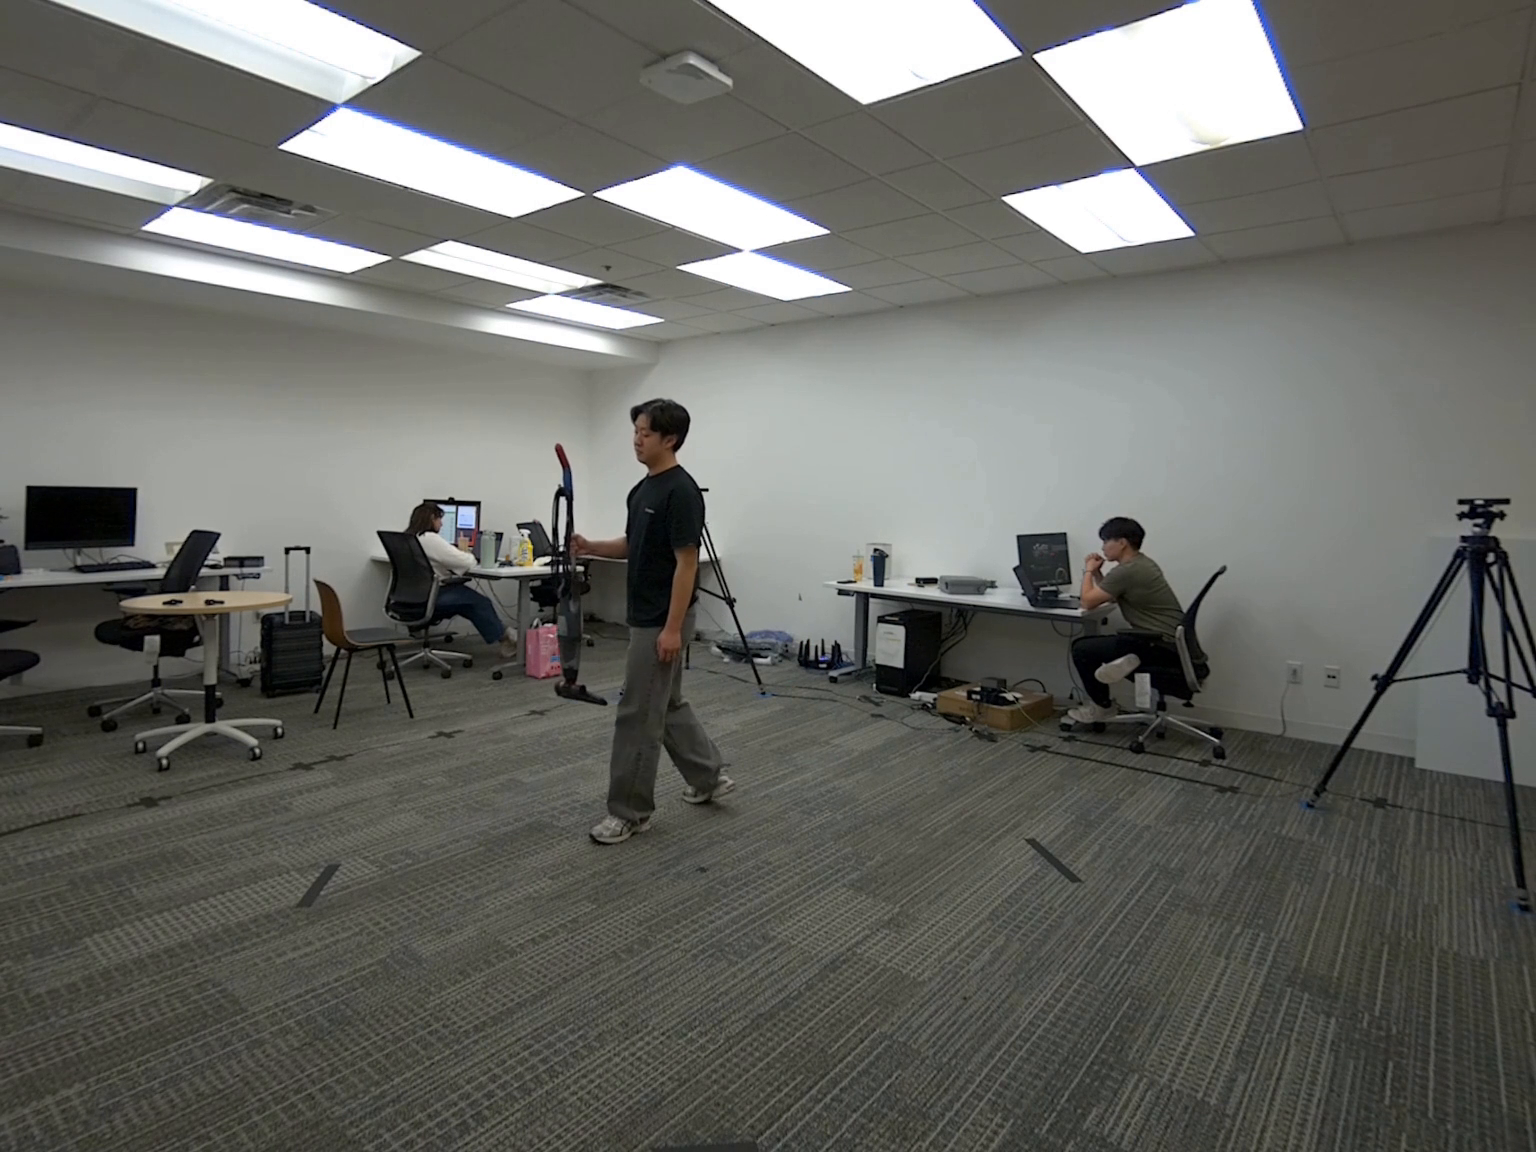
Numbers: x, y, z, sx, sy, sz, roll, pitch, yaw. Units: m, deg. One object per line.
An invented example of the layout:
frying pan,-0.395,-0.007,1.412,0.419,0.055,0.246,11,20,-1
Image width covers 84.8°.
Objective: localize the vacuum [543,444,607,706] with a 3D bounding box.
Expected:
vacuum,-0.852,-0.008,3.511,0.261,1.037,0.141,5,13,34
